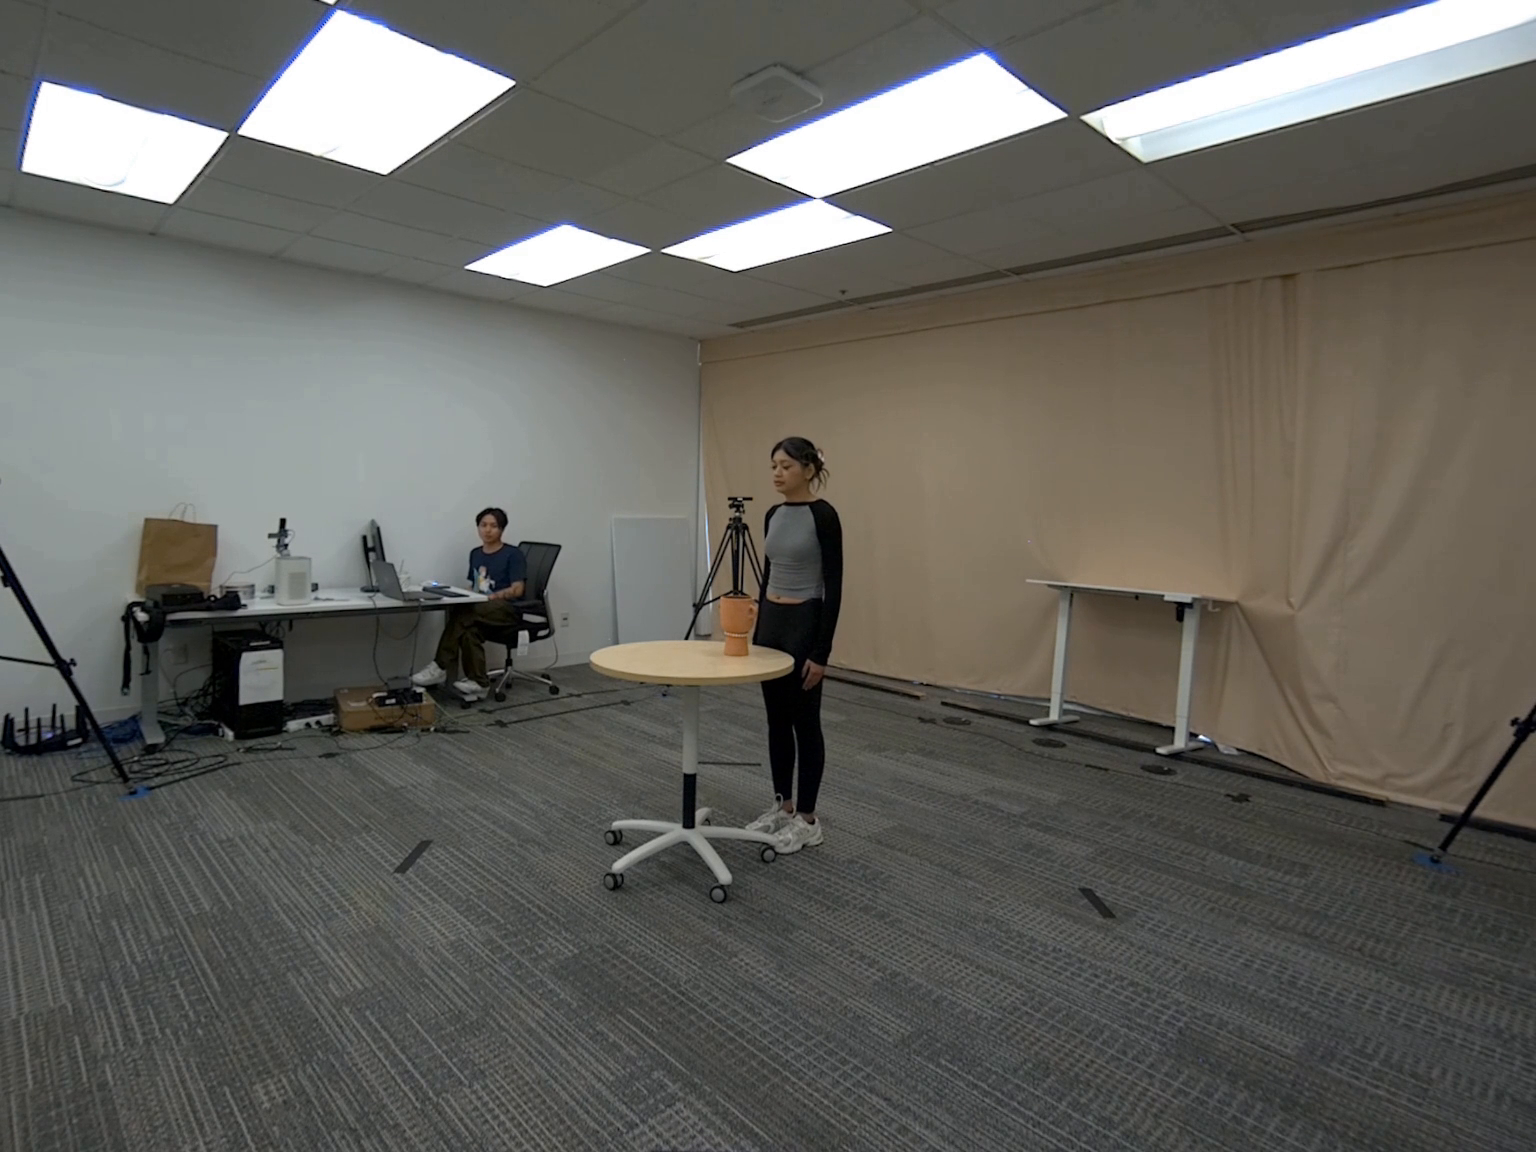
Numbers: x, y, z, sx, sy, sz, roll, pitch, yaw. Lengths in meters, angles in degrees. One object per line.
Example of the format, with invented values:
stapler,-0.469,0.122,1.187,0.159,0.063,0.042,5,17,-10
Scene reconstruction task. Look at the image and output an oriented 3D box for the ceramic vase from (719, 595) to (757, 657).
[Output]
ceramic vase,-0.126,0.195,3.247,0.134,0.219,0.160,0,3,-8
